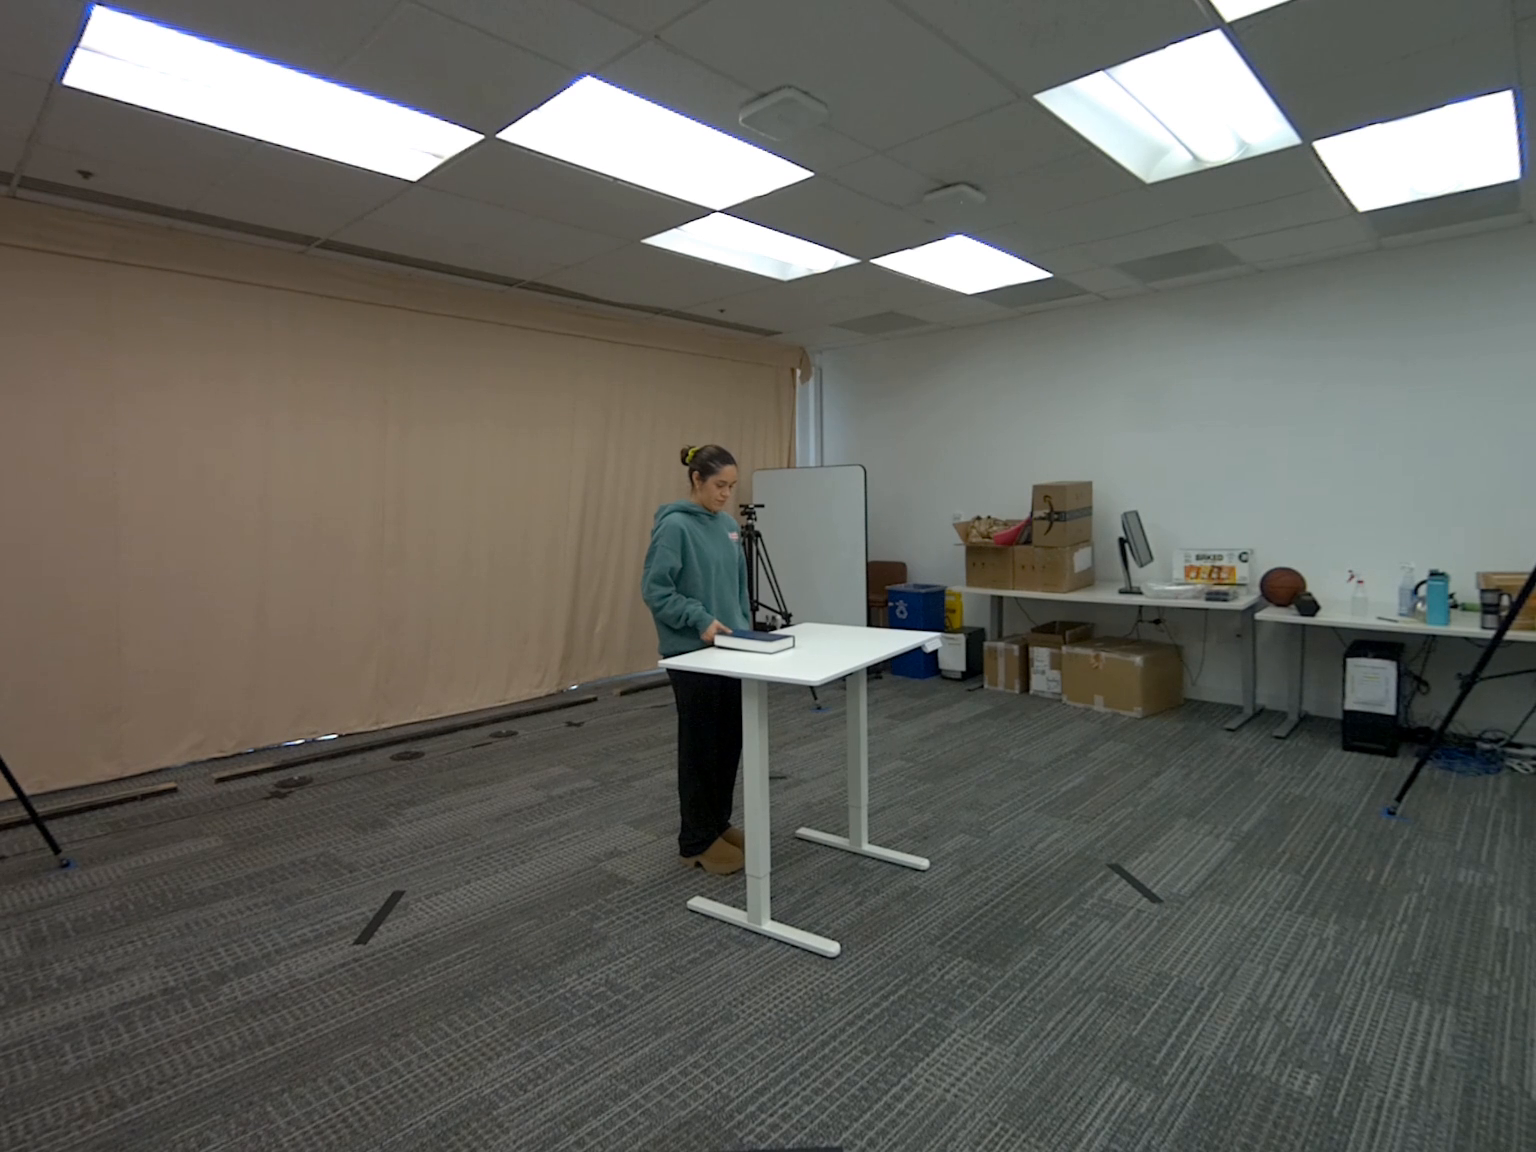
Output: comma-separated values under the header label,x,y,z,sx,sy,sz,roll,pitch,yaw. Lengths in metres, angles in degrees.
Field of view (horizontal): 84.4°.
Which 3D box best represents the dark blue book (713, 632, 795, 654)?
label,x,y,z,sx,sy,sz,roll,pitch,yaw
dark blue book,-0.045,0.237,2.995,0.252,0.045,0.159,3,5,30
